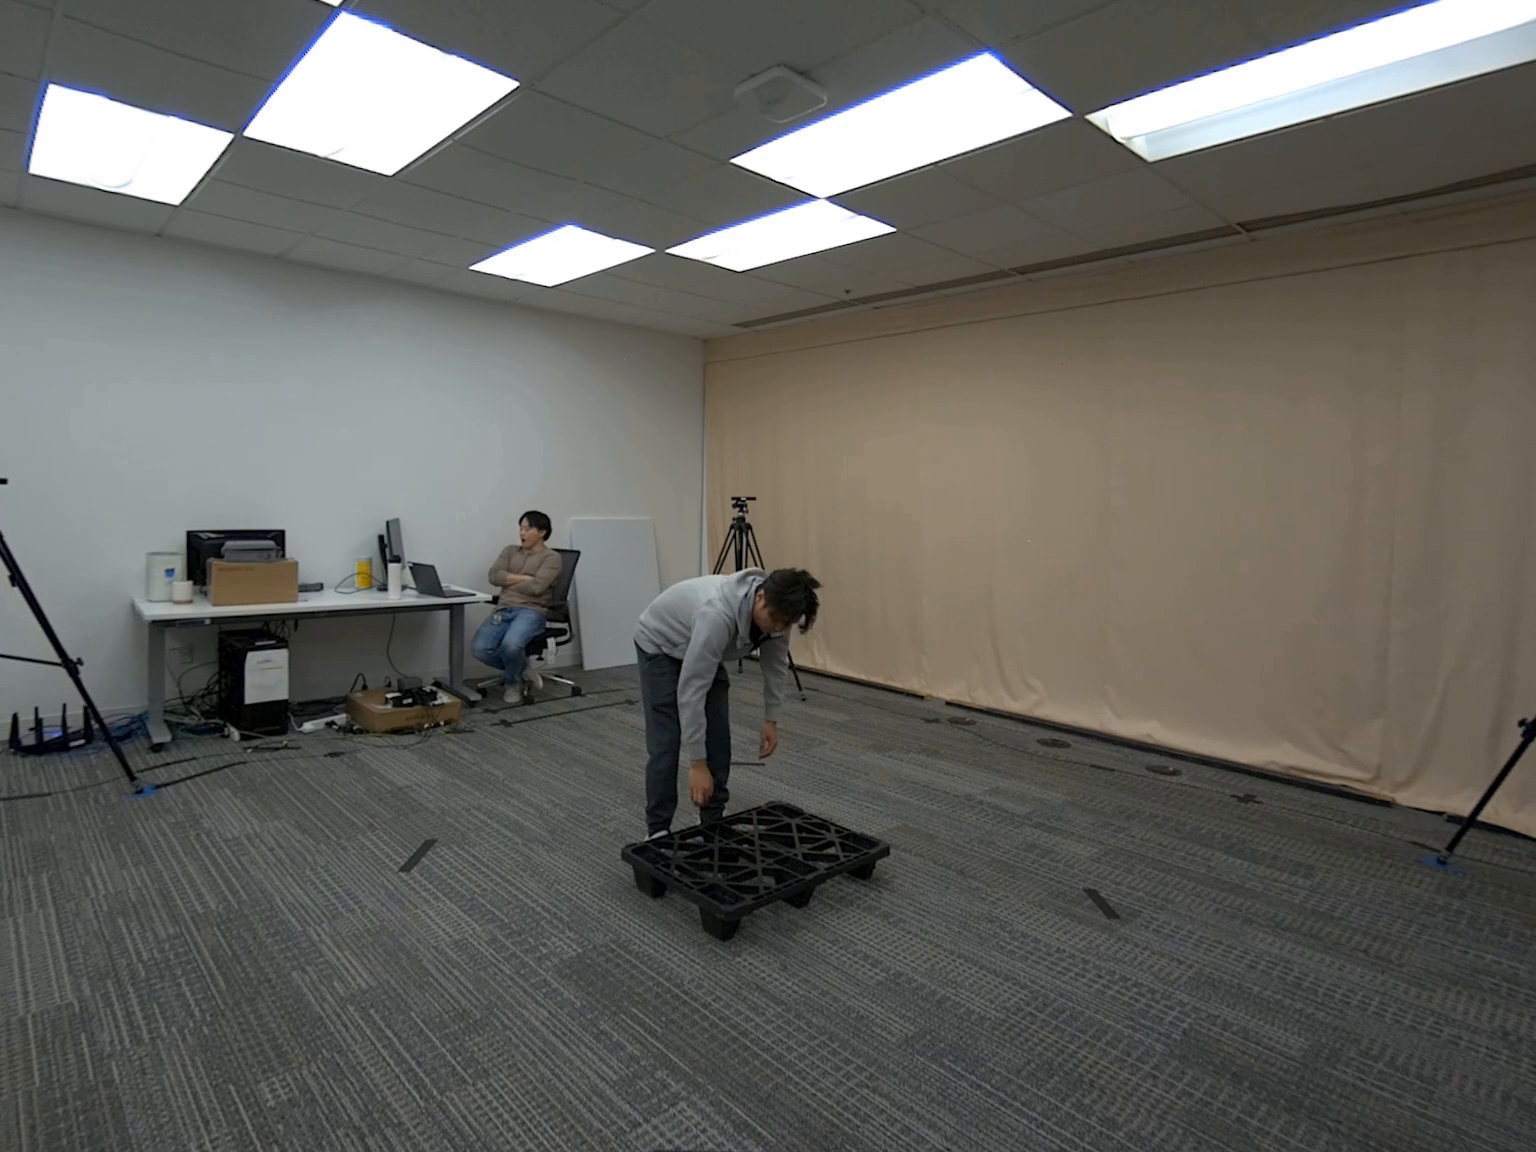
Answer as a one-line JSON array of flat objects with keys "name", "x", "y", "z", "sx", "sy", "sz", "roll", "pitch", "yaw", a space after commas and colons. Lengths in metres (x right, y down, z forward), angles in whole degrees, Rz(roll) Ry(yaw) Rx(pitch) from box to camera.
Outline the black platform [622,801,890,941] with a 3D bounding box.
[{"name": "black platform", "x": -0.049, "y": 1.052, "z": 3.045, "sx": 0.787, "sy": 0.143, "sz": 0.620, "roll": -3, "pitch": 6, "yaw": -43}]
